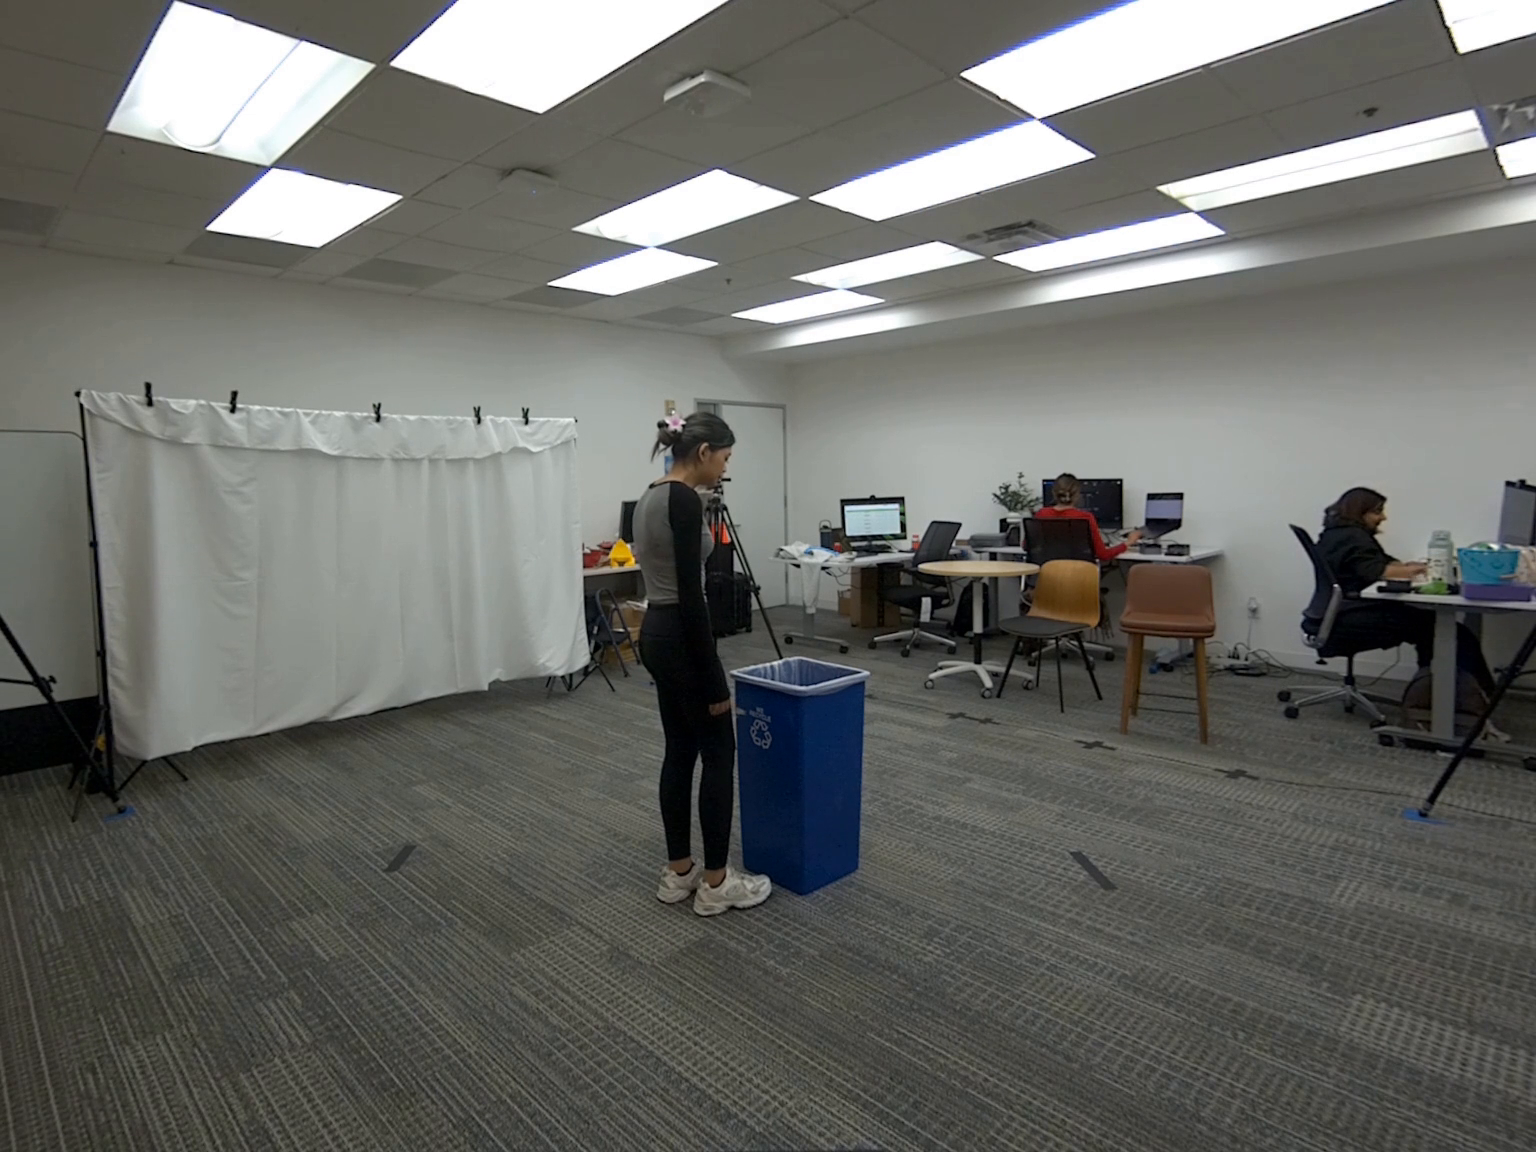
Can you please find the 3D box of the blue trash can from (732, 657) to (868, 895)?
[{"bbox_3d":[0.124,0.691,3.031,0.368,0.711,0.385,-5,6,-43],"label":"blue trash can"}]
